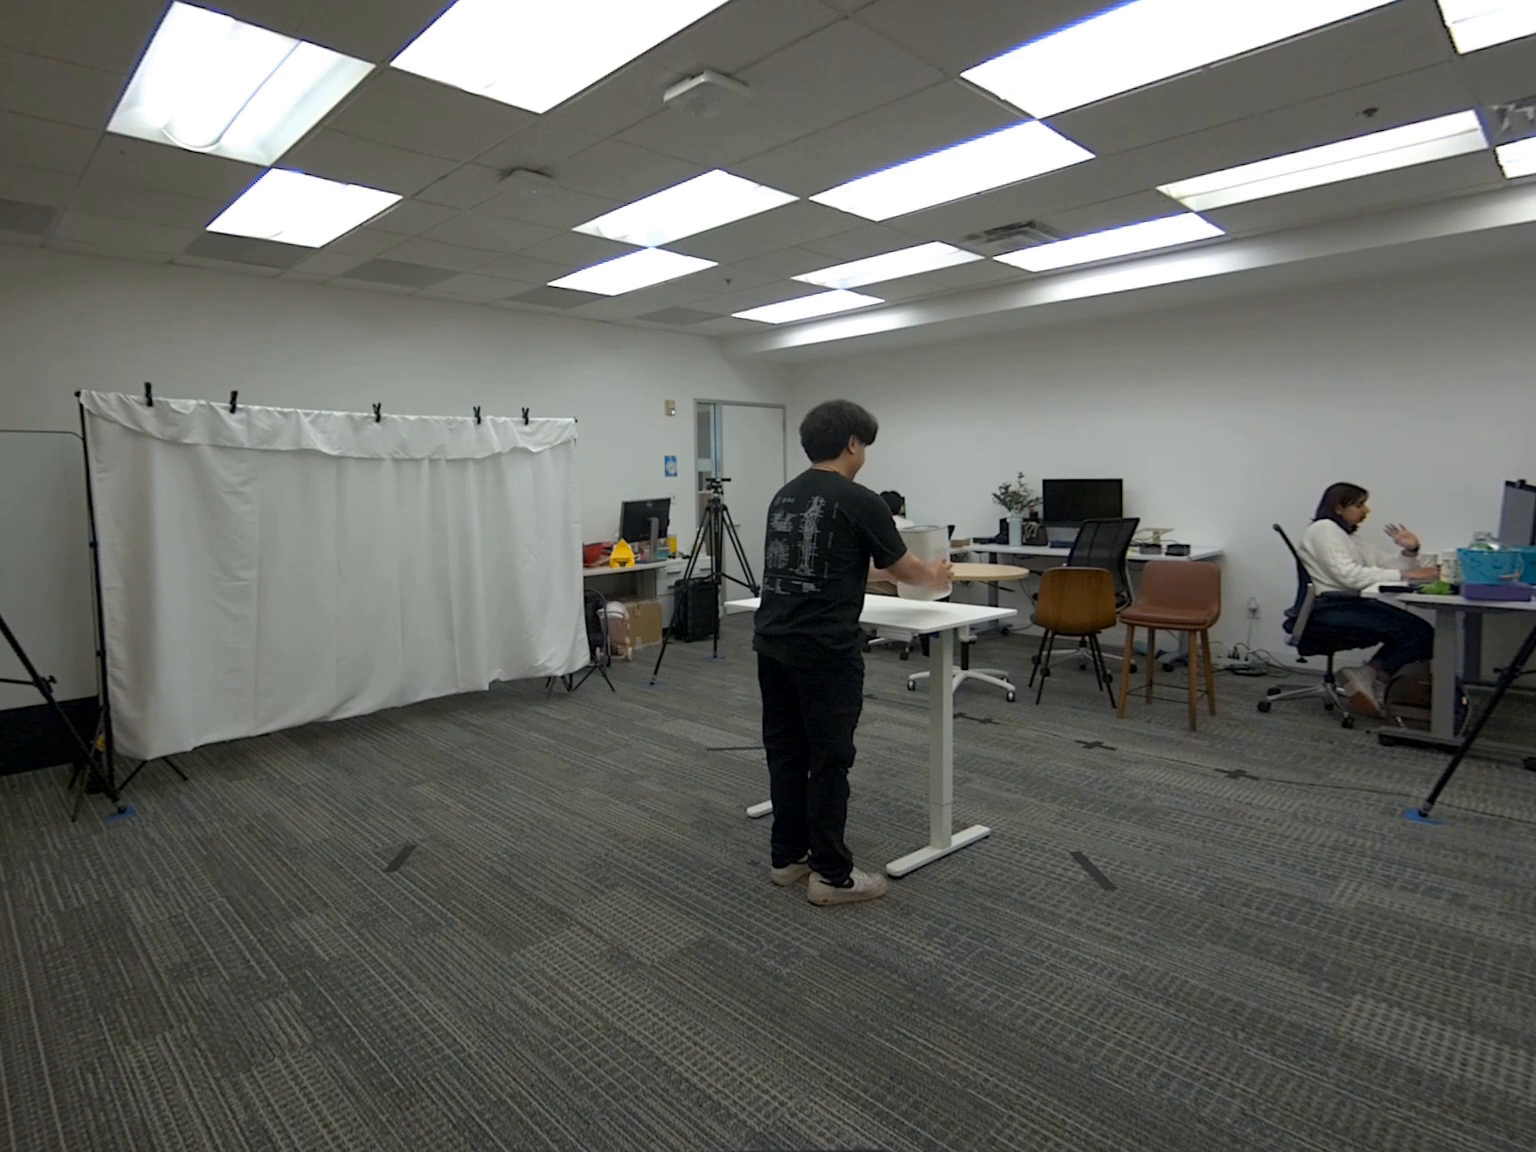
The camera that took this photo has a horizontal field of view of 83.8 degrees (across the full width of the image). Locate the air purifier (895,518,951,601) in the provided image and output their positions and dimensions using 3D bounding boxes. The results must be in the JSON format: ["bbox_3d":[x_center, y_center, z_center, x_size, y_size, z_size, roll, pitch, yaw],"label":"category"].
[{"bbox_3d":[0.578,-0.048,3.185,0.167,0.264,0.176,-11,9,-43],"label":"air purifier"}]
